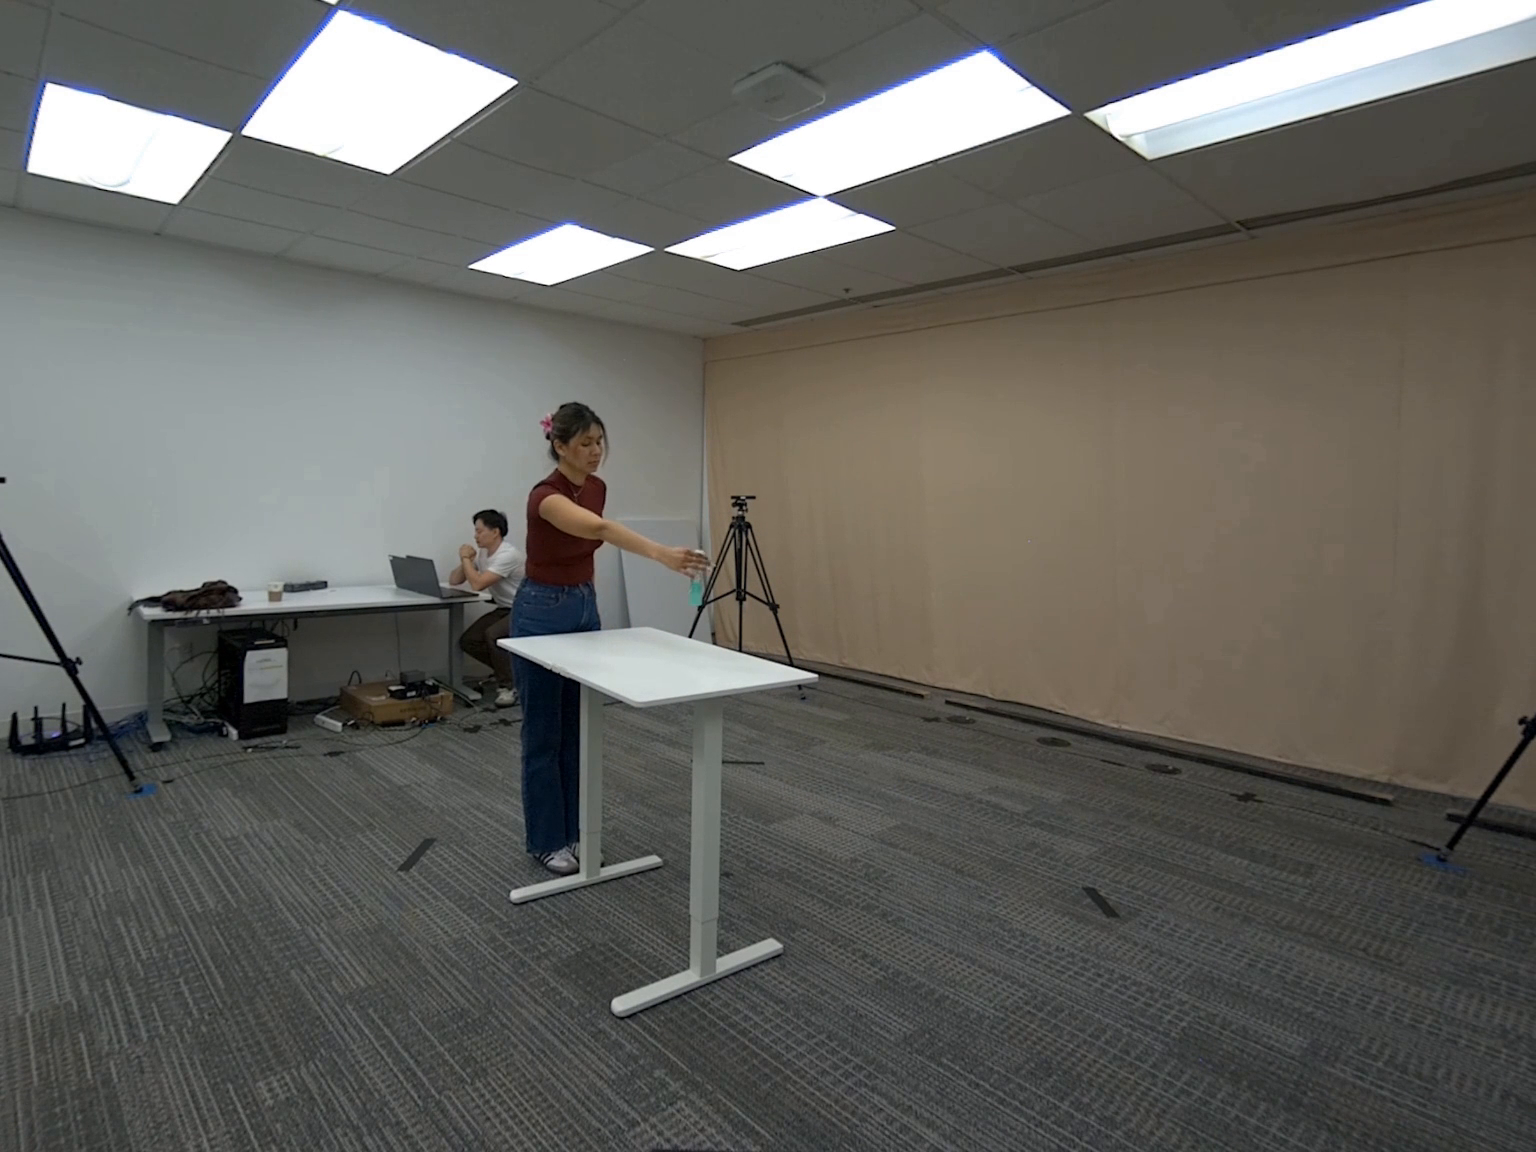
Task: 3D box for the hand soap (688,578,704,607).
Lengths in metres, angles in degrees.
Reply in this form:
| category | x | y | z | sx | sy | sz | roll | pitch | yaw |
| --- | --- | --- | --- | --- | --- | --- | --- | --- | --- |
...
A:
| category | x | y | z | sx | sy | sz | roll | pitch | yaw |
| --- | --- | --- | --- | --- | --- | --- | --- | --- | --- |
| hand soap | -0.238 | 0.007 | 2.564 | 0.043 | 0.168 | 0.085 | 4 | 3 | -1 |
